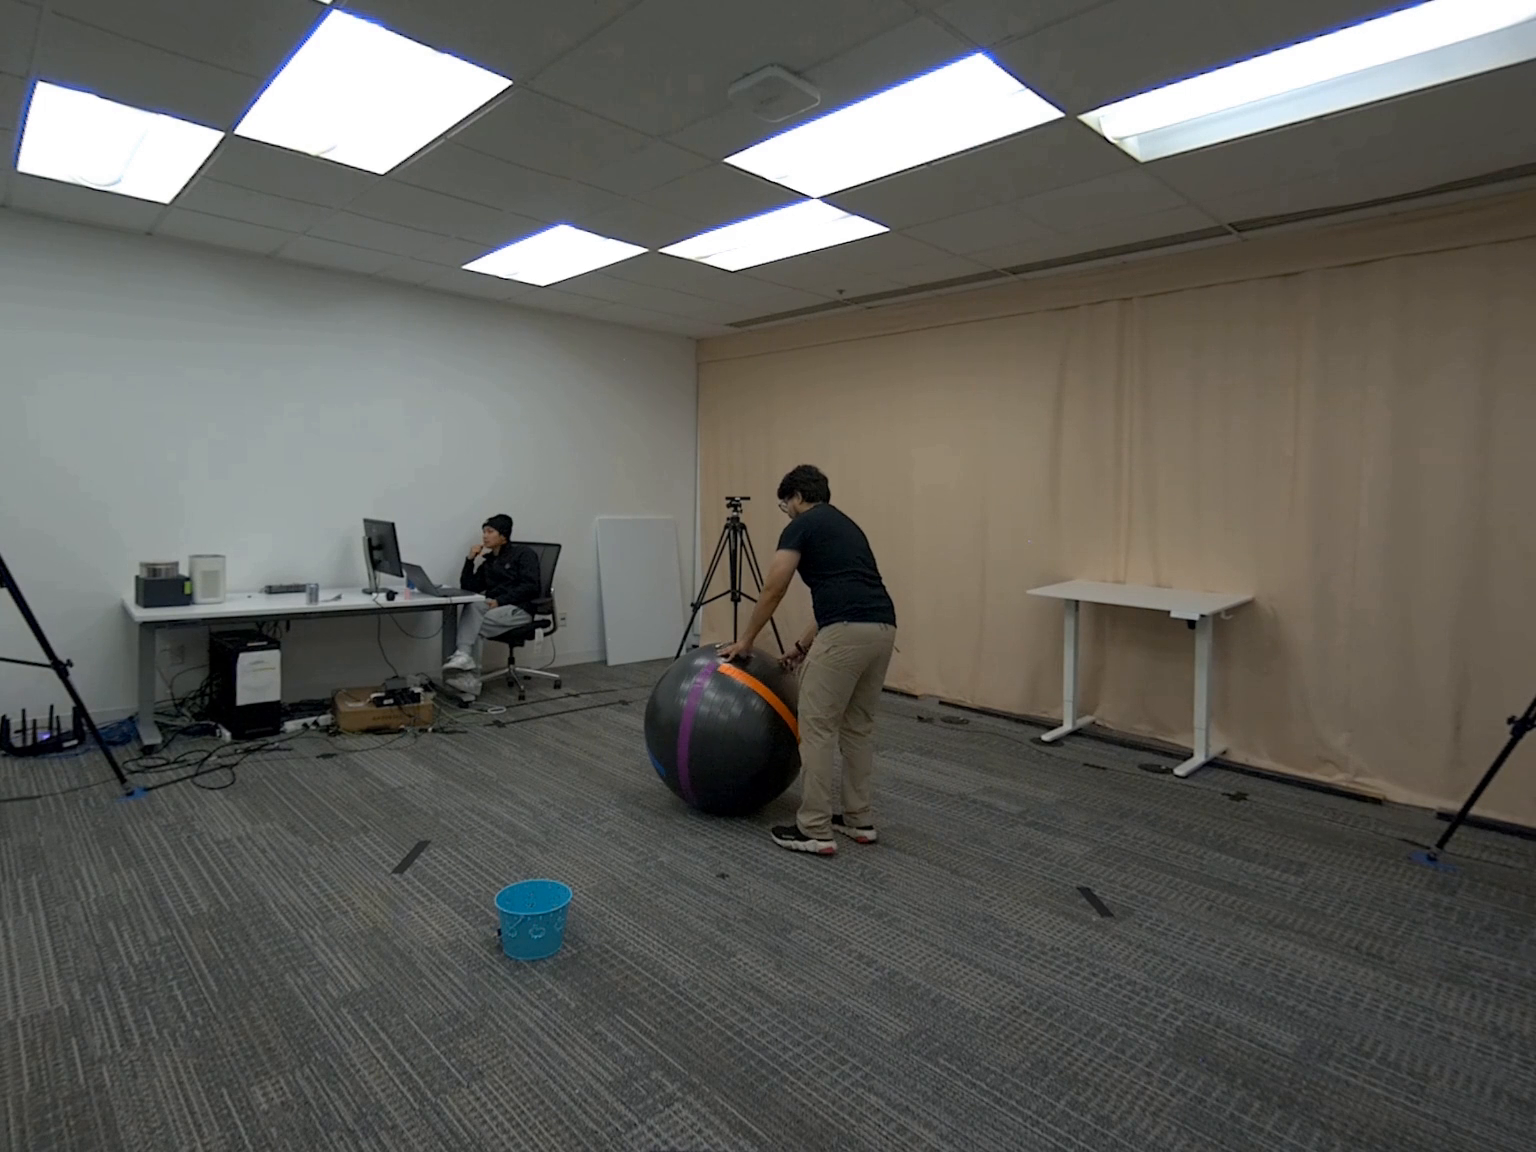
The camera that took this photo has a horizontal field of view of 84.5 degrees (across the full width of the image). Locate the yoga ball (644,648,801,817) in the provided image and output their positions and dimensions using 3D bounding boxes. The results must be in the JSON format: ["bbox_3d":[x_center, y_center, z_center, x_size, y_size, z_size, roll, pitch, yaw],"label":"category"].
[{"bbox_3d":[-0.191,0.686,3.827,0.757,0.756,0.761,1,4,-1],"label":"yoga ball"}]
